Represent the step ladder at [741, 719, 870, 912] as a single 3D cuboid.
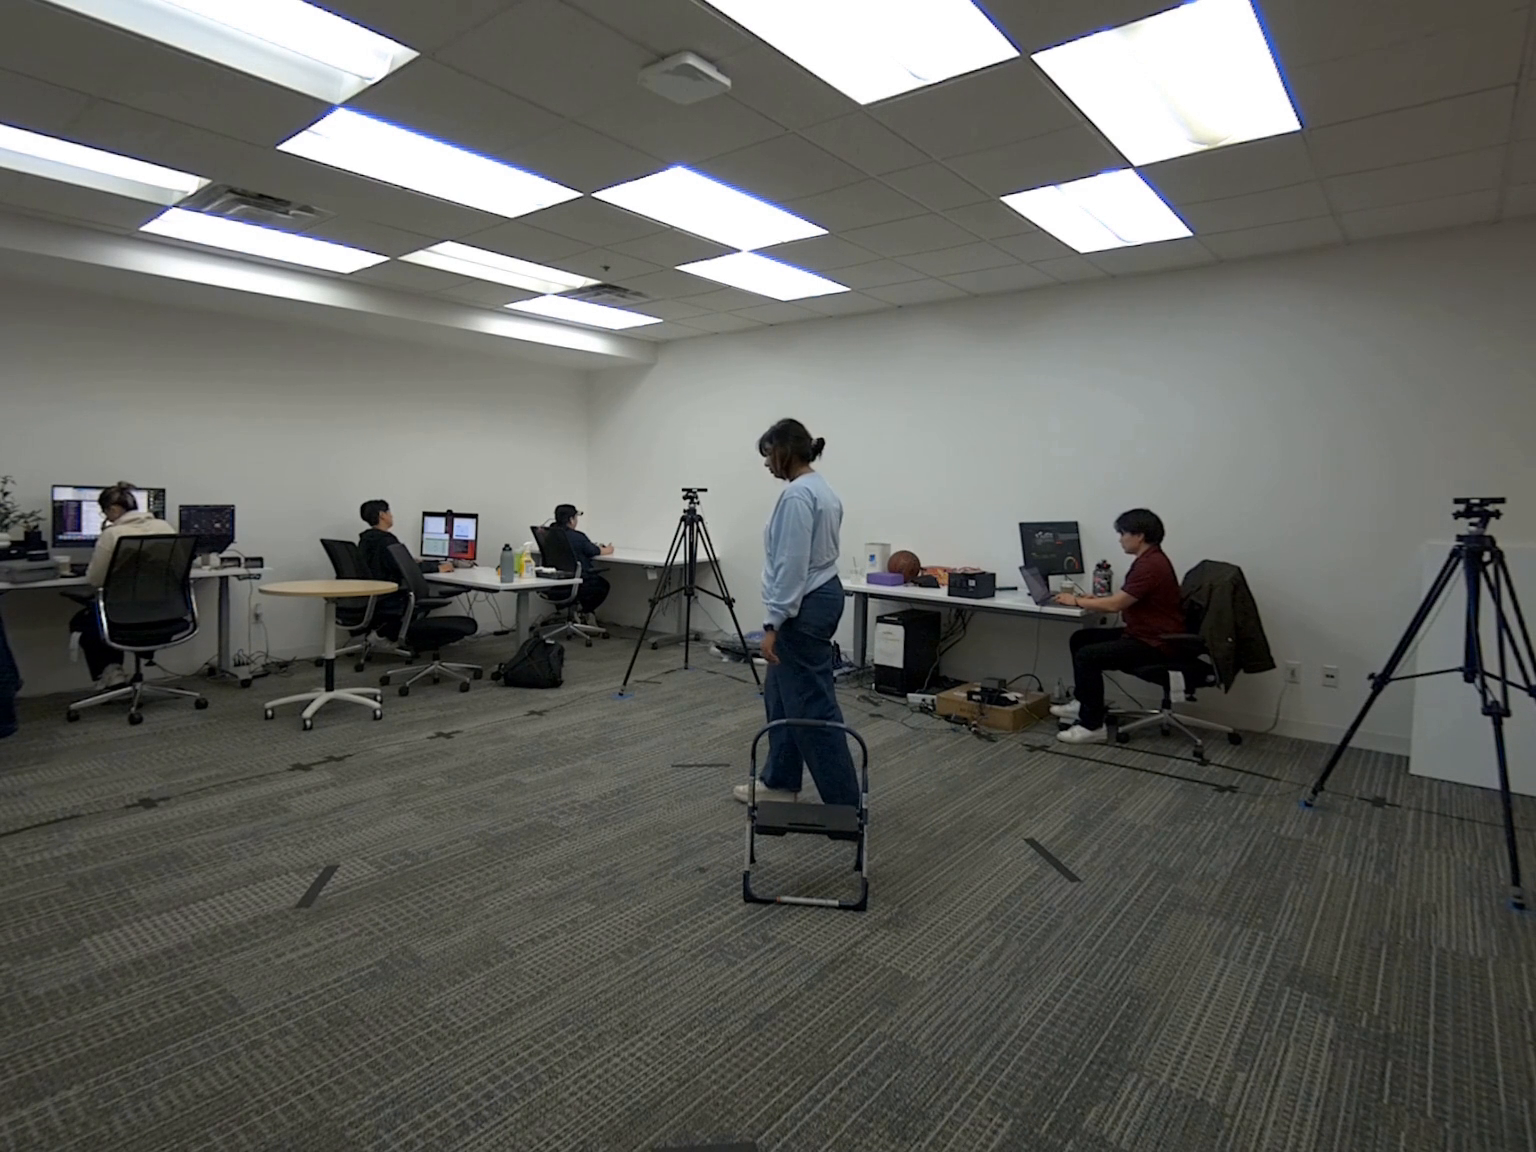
[{"bbox_3d":[0.130,0.788,2.991,0.433,0.604,0.348,2,3,4],"label":"step ladder"}]
